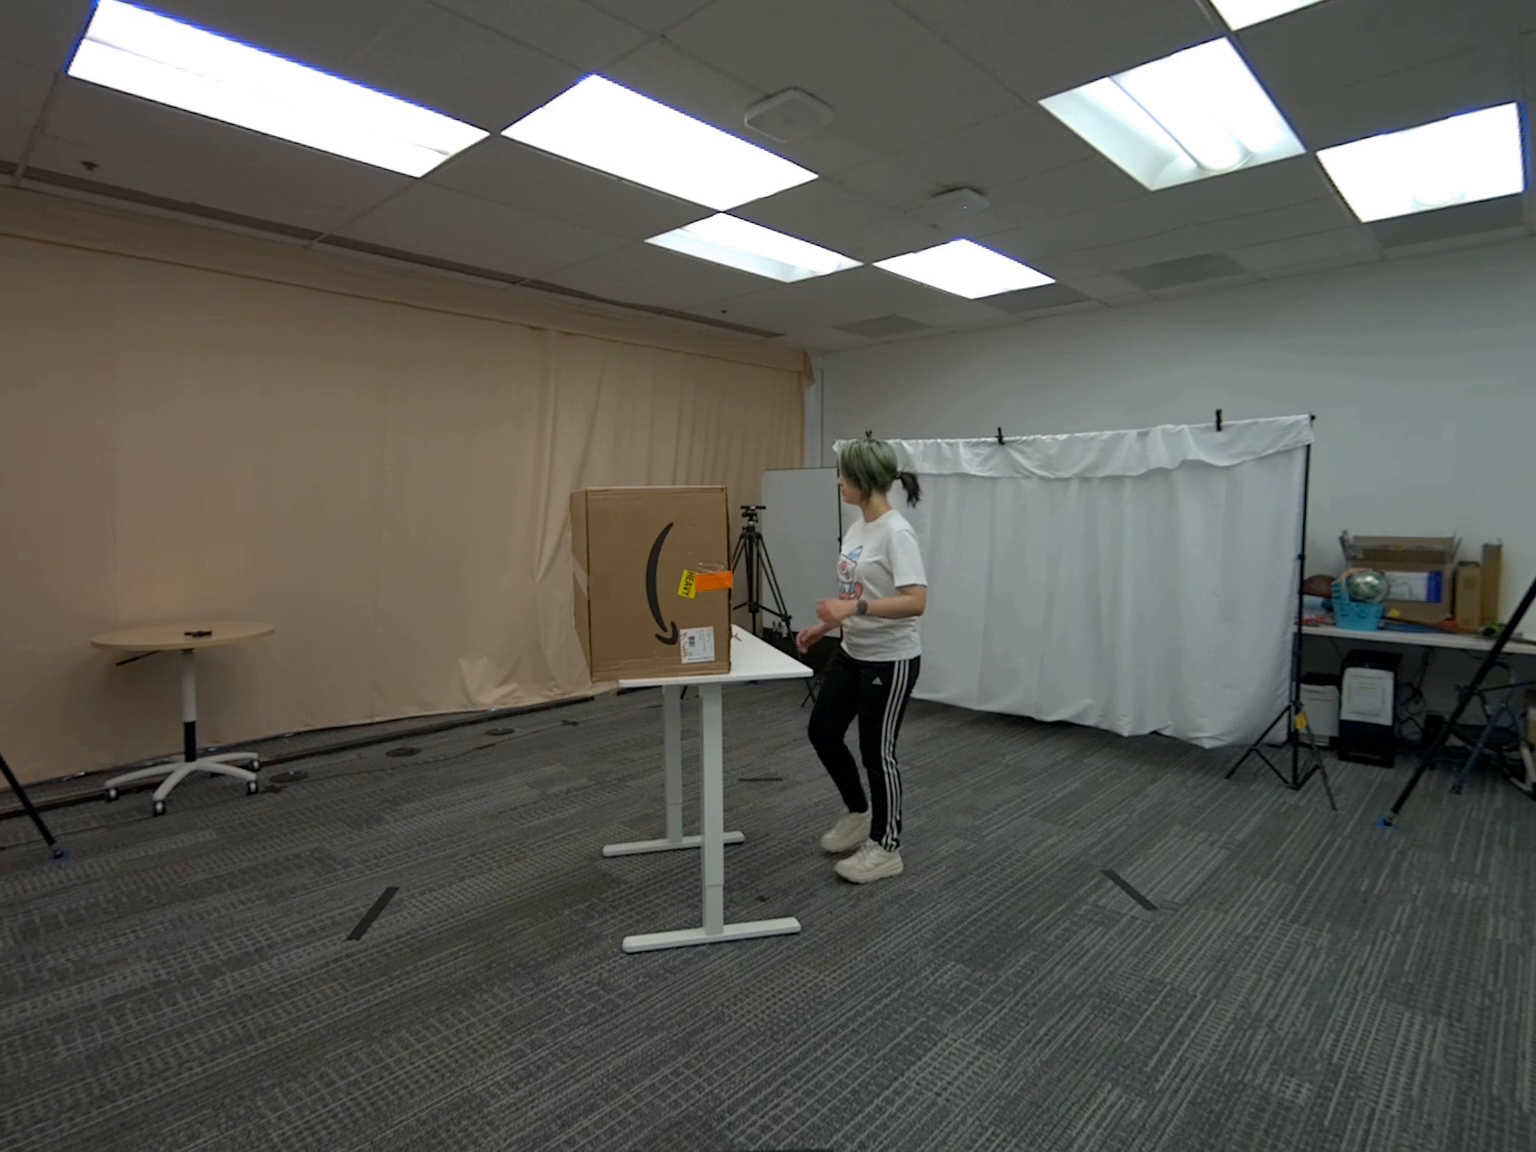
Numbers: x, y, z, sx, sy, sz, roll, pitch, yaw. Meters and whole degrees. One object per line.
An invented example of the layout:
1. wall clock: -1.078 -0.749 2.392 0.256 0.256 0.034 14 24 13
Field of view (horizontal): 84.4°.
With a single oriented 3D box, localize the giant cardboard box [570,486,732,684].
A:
1. giant cardboard box: -0.450 -0.022 2.998 0.440 0.582 1.045 -2 5 -15
